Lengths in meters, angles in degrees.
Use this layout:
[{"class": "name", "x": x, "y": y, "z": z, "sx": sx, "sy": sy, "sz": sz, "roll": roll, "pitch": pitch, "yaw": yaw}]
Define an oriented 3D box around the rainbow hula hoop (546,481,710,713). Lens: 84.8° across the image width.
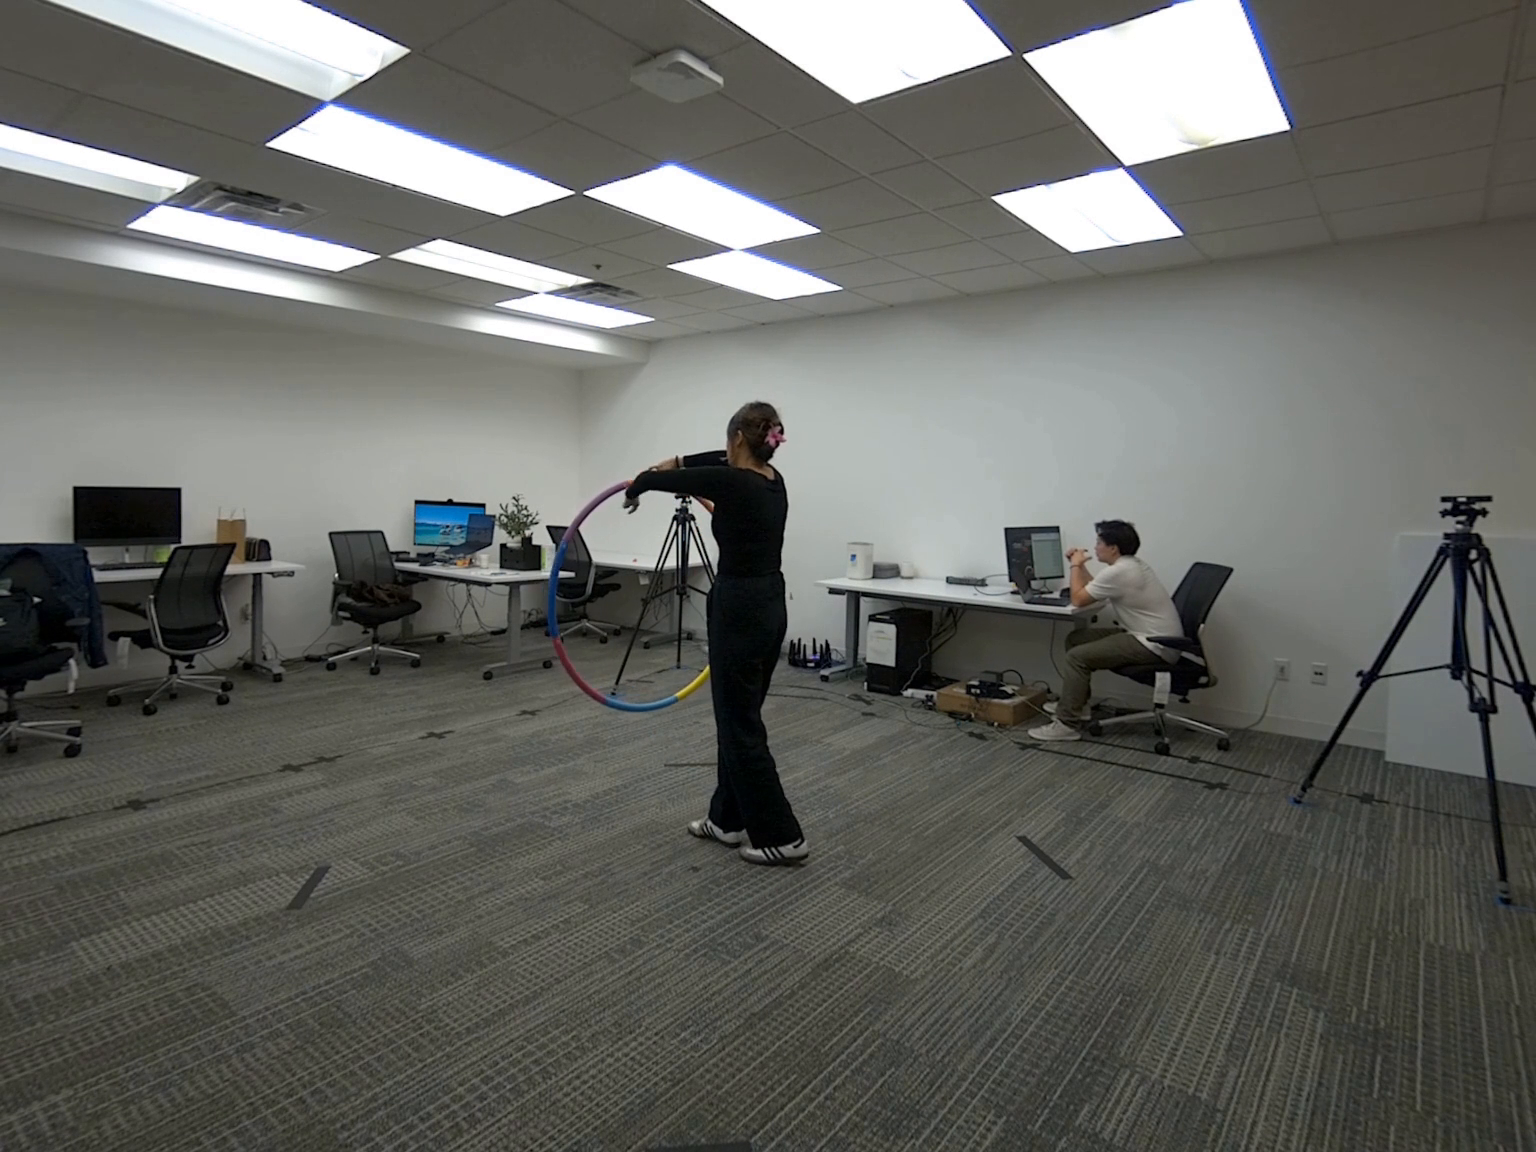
[{"class": "rainbow hula hoop", "x": -0.500, "y": 0.070, "z": 3.594, "sx": 0.956, "sy": 0.982, "sz": 0.053, "roll": -2, "pitch": 4, "yaw": -38}]
